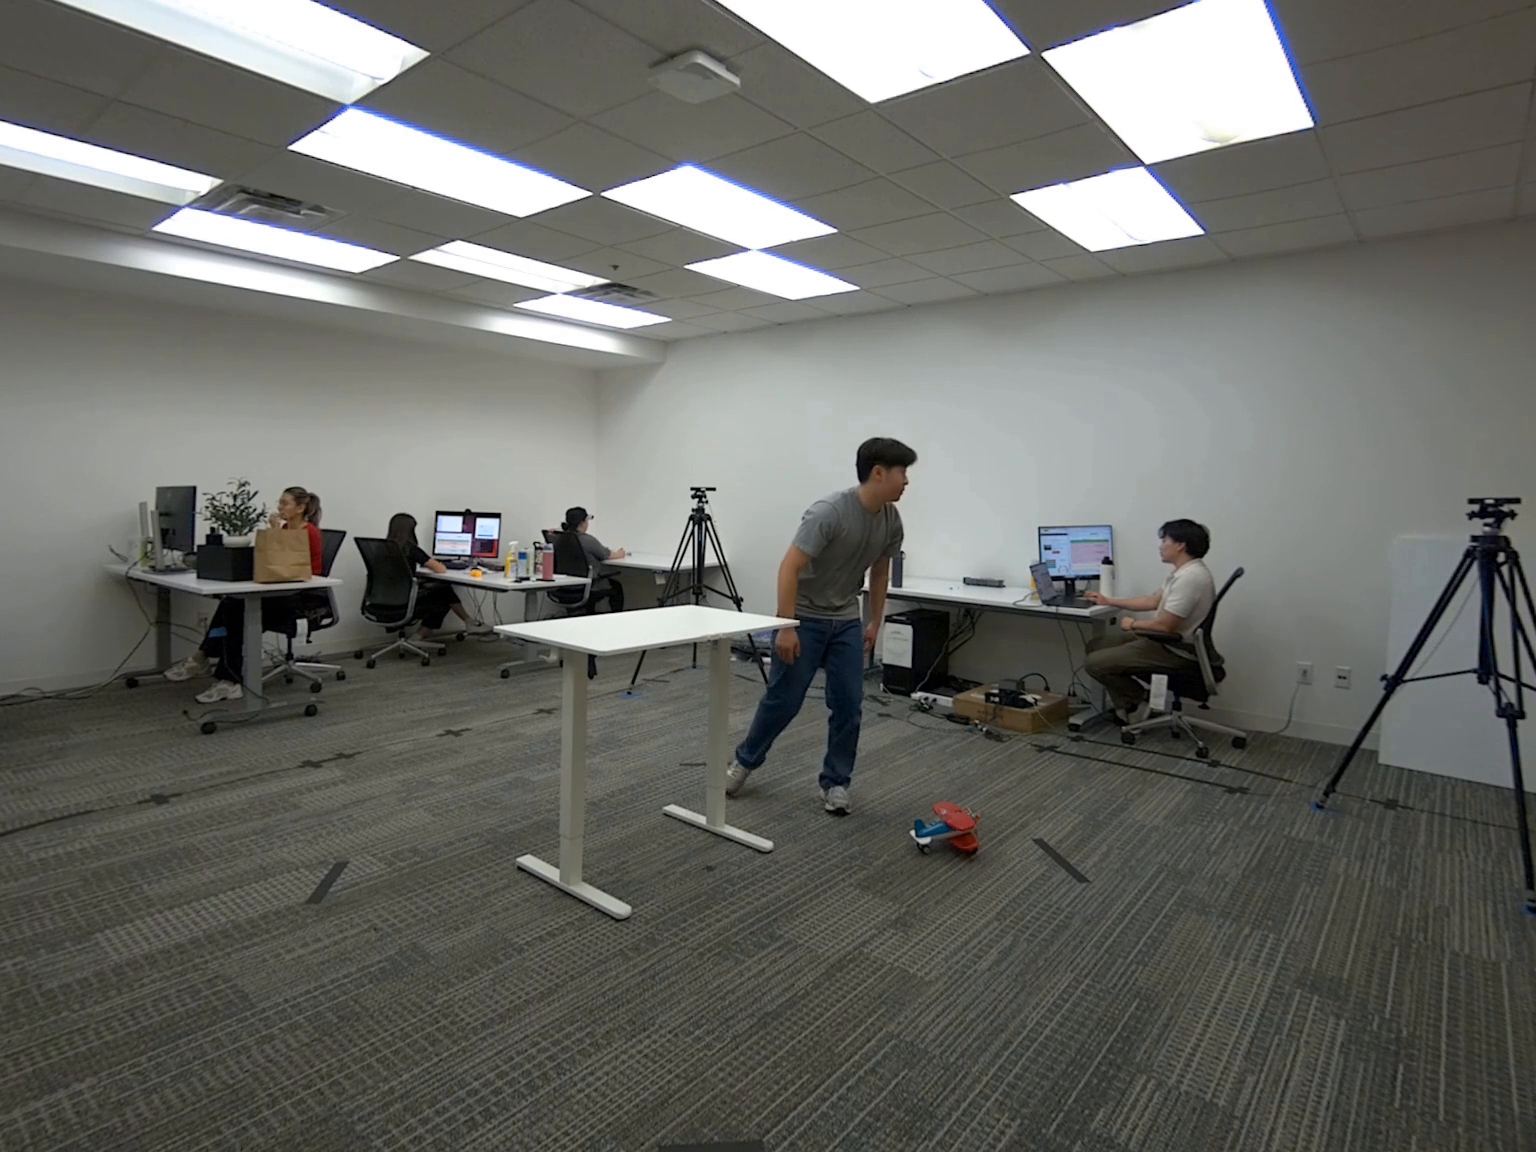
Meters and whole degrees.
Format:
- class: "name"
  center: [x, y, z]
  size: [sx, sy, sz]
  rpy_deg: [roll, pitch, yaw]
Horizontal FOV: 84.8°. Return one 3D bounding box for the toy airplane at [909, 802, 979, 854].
- class: "toy airplane"
  center: [0.694, 0.989, 3.302]
  size: [0.251, 0.156, 0.260]
  rpy_deg: [-1, 5, -40]
